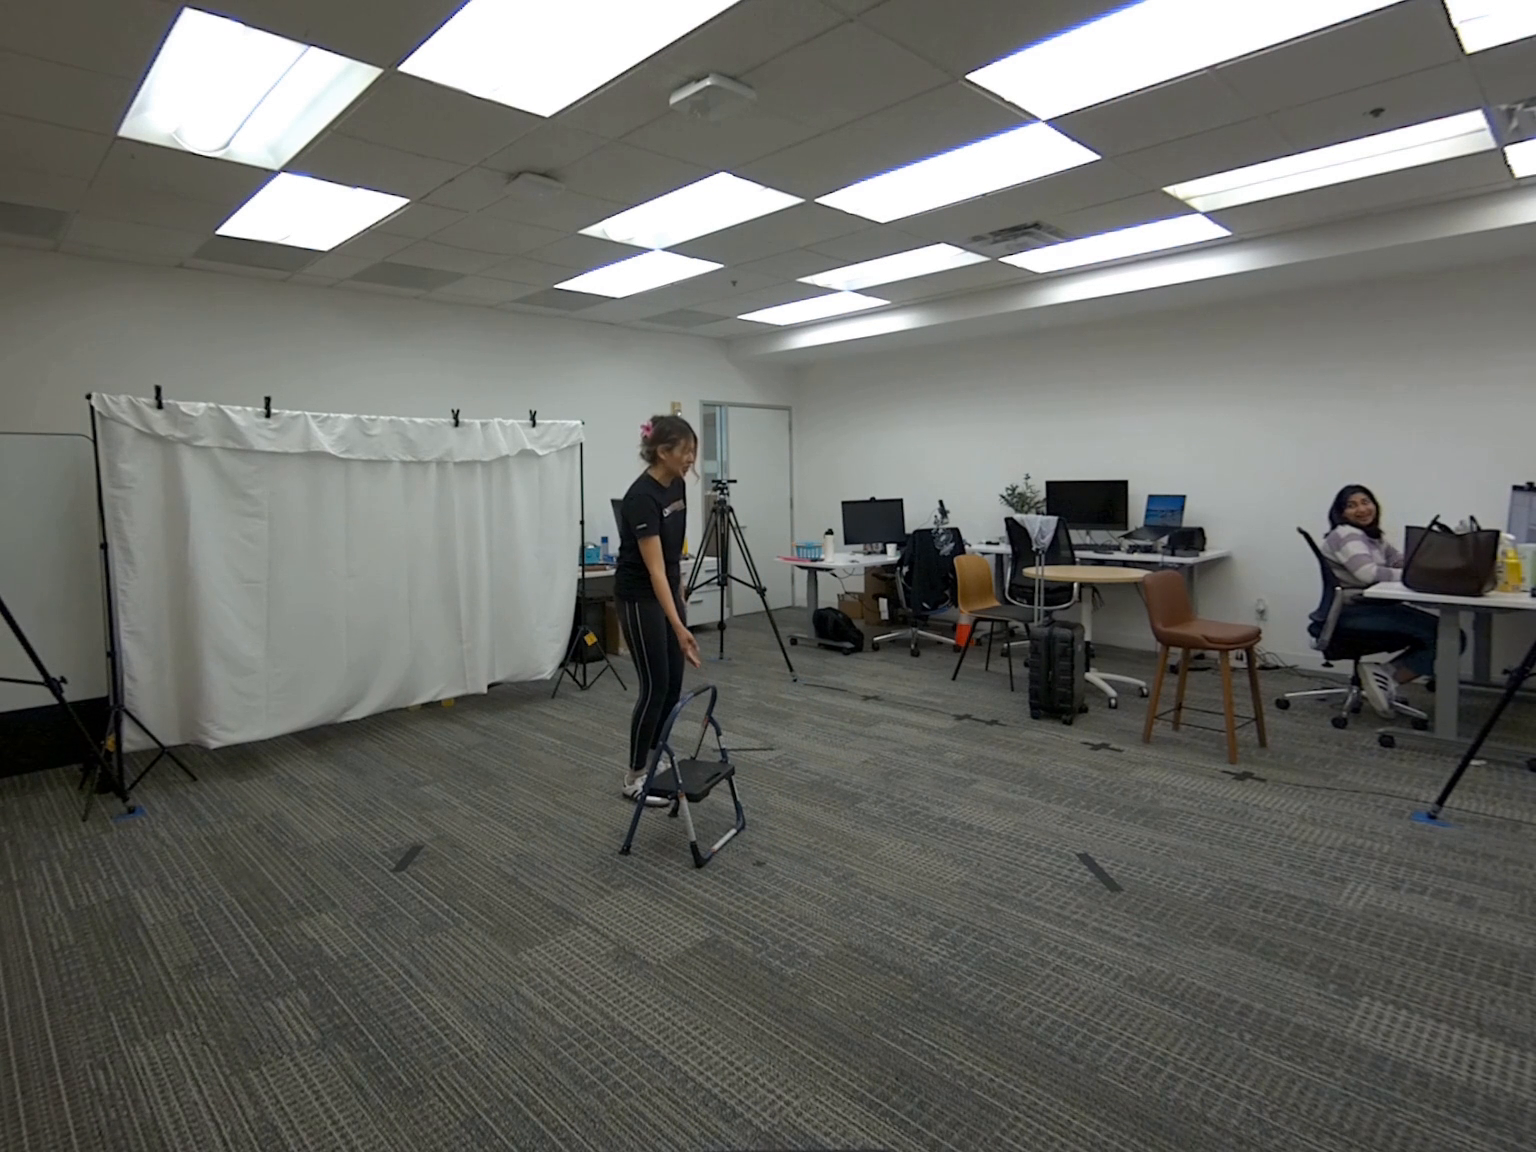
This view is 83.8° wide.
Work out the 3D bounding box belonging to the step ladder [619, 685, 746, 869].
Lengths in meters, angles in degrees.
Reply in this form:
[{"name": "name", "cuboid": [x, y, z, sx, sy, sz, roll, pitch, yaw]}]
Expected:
[{"name": "step ladder", "cuboid": [-0.326, 0.726, 3.311, 0.357, 0.604, 0.423, 0, 5, 22]}]
